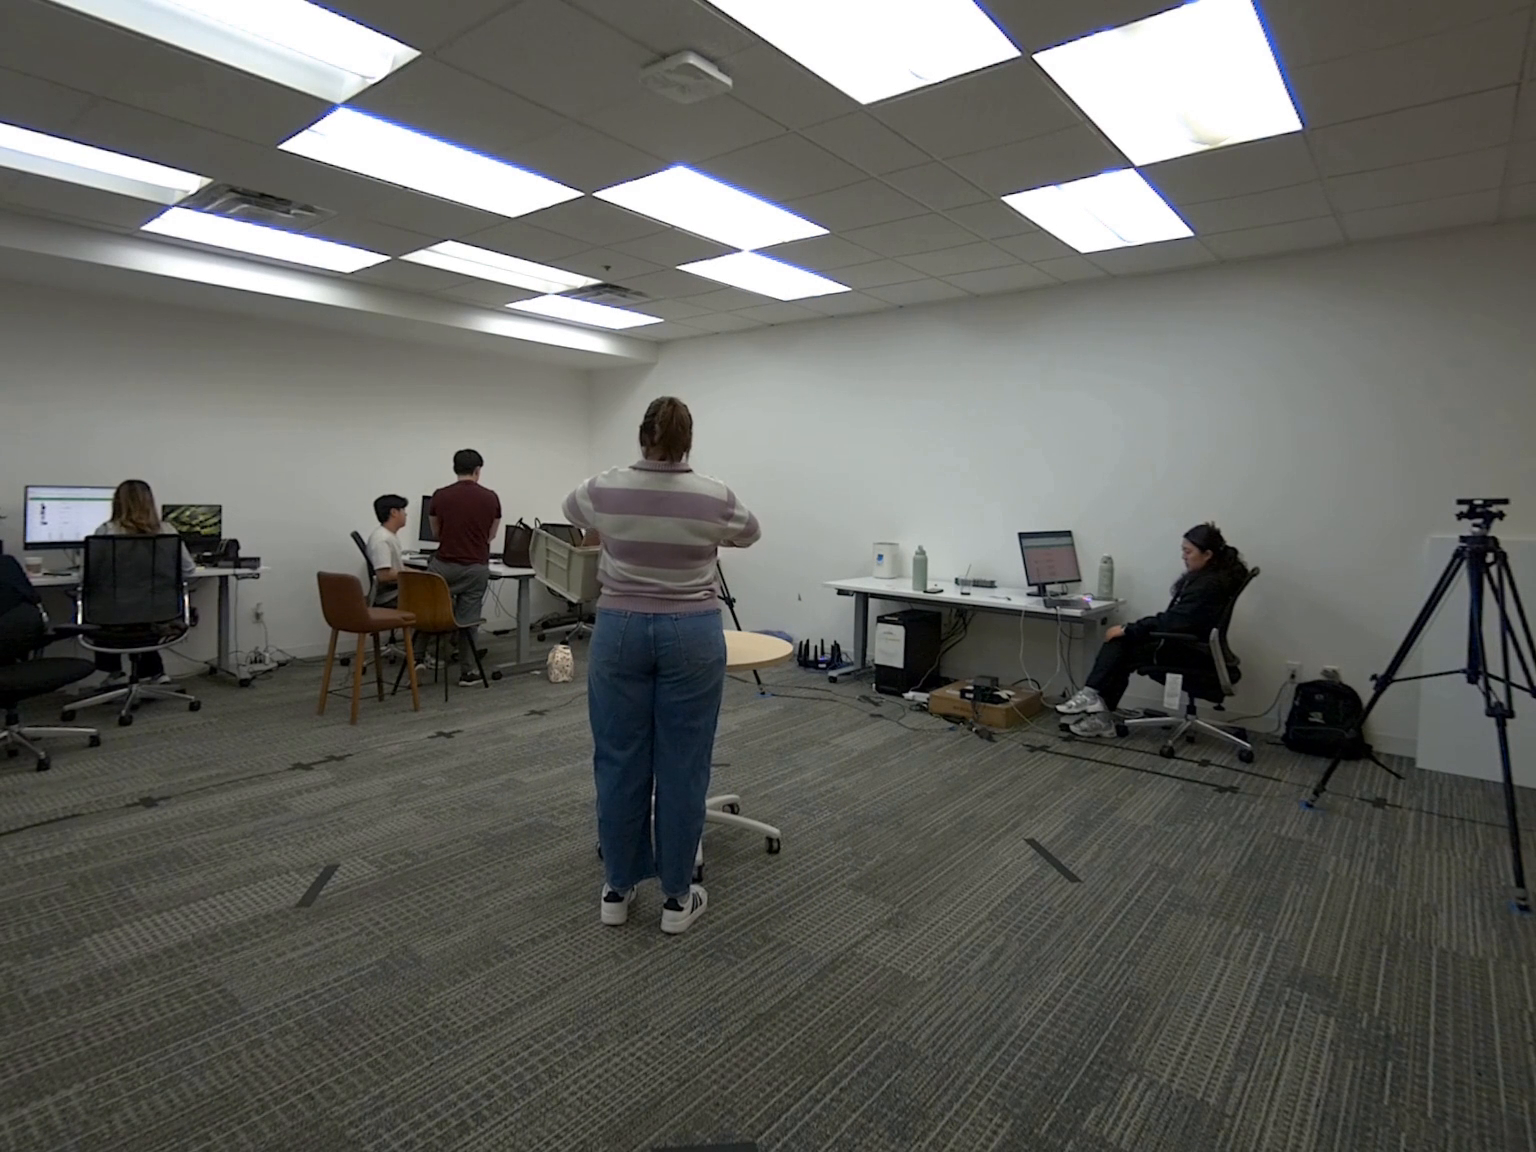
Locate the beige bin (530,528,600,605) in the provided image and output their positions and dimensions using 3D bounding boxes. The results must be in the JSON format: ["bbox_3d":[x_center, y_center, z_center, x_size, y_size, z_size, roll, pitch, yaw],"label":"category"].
[{"bbox_3d":[-0.572,-0.051,2.990,0.410,0.187,0.393,-4,18,-39],"label":"beige bin"}]
